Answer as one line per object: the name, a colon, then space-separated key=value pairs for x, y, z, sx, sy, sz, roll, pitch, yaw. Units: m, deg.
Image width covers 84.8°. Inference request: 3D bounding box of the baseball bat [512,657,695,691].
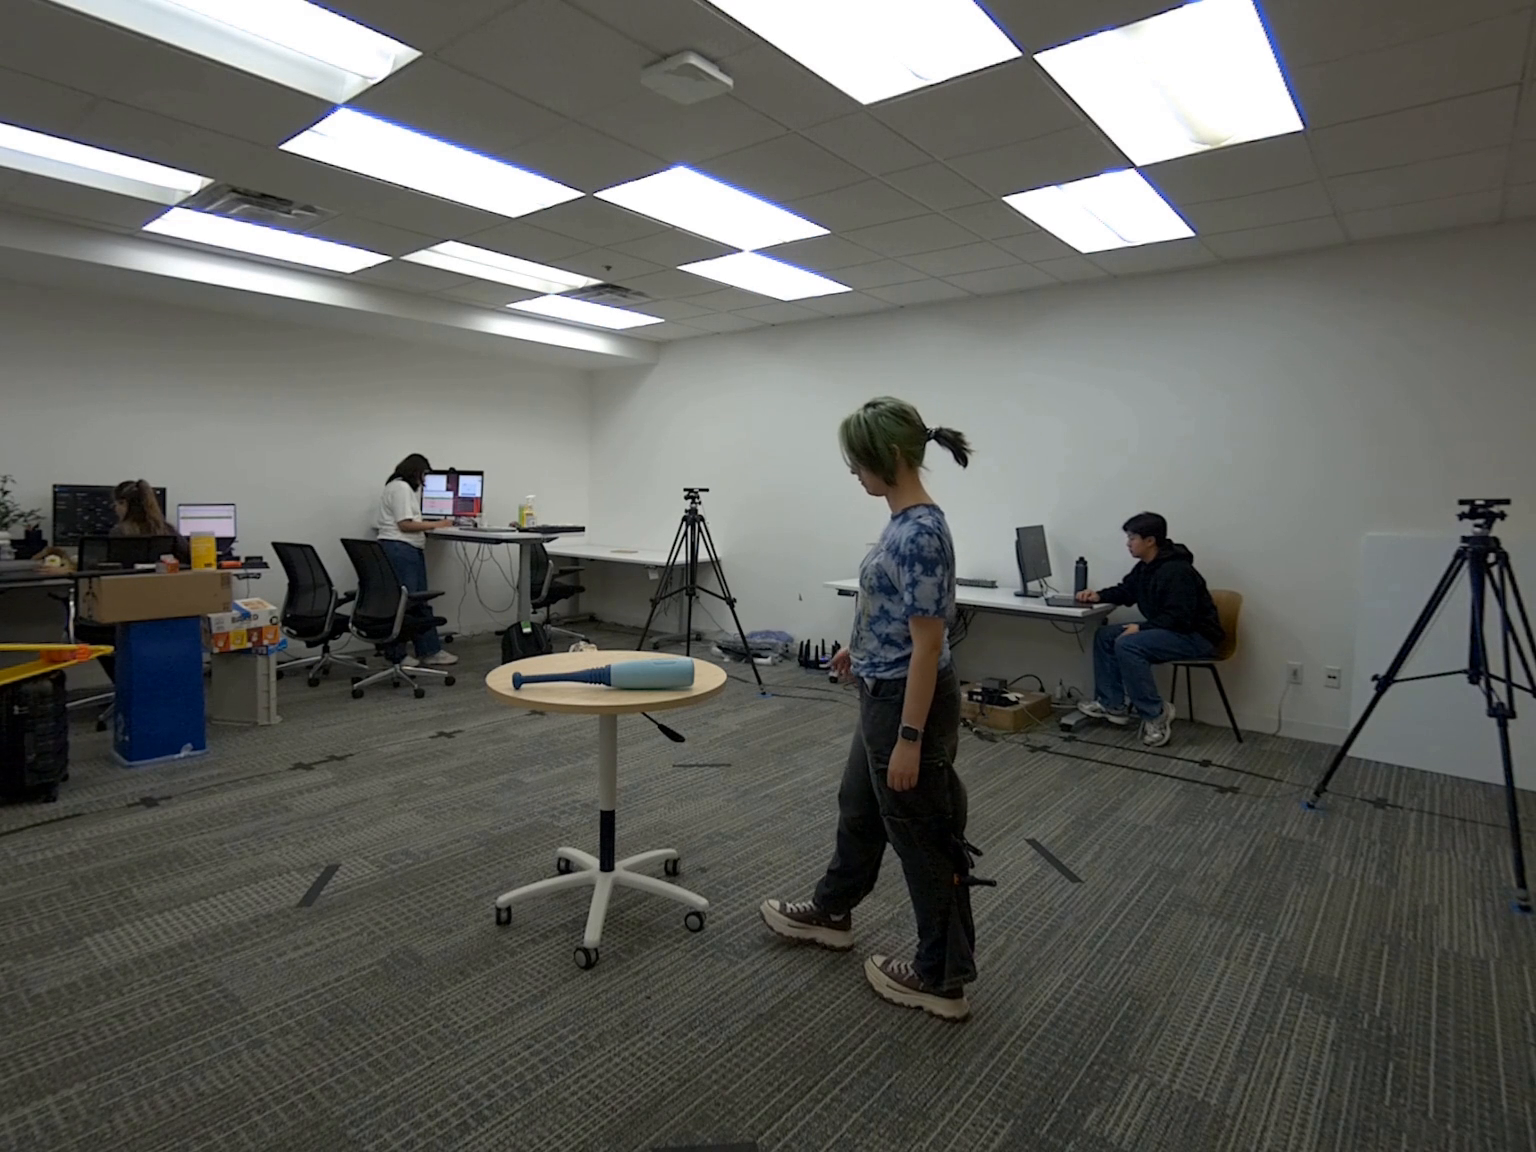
baseball bat: x=-0.510 y=0.303 z=2.546 sx=0.539 sy=0.089 sz=0.090 roll=-2 pitch=4 yaw=-6
